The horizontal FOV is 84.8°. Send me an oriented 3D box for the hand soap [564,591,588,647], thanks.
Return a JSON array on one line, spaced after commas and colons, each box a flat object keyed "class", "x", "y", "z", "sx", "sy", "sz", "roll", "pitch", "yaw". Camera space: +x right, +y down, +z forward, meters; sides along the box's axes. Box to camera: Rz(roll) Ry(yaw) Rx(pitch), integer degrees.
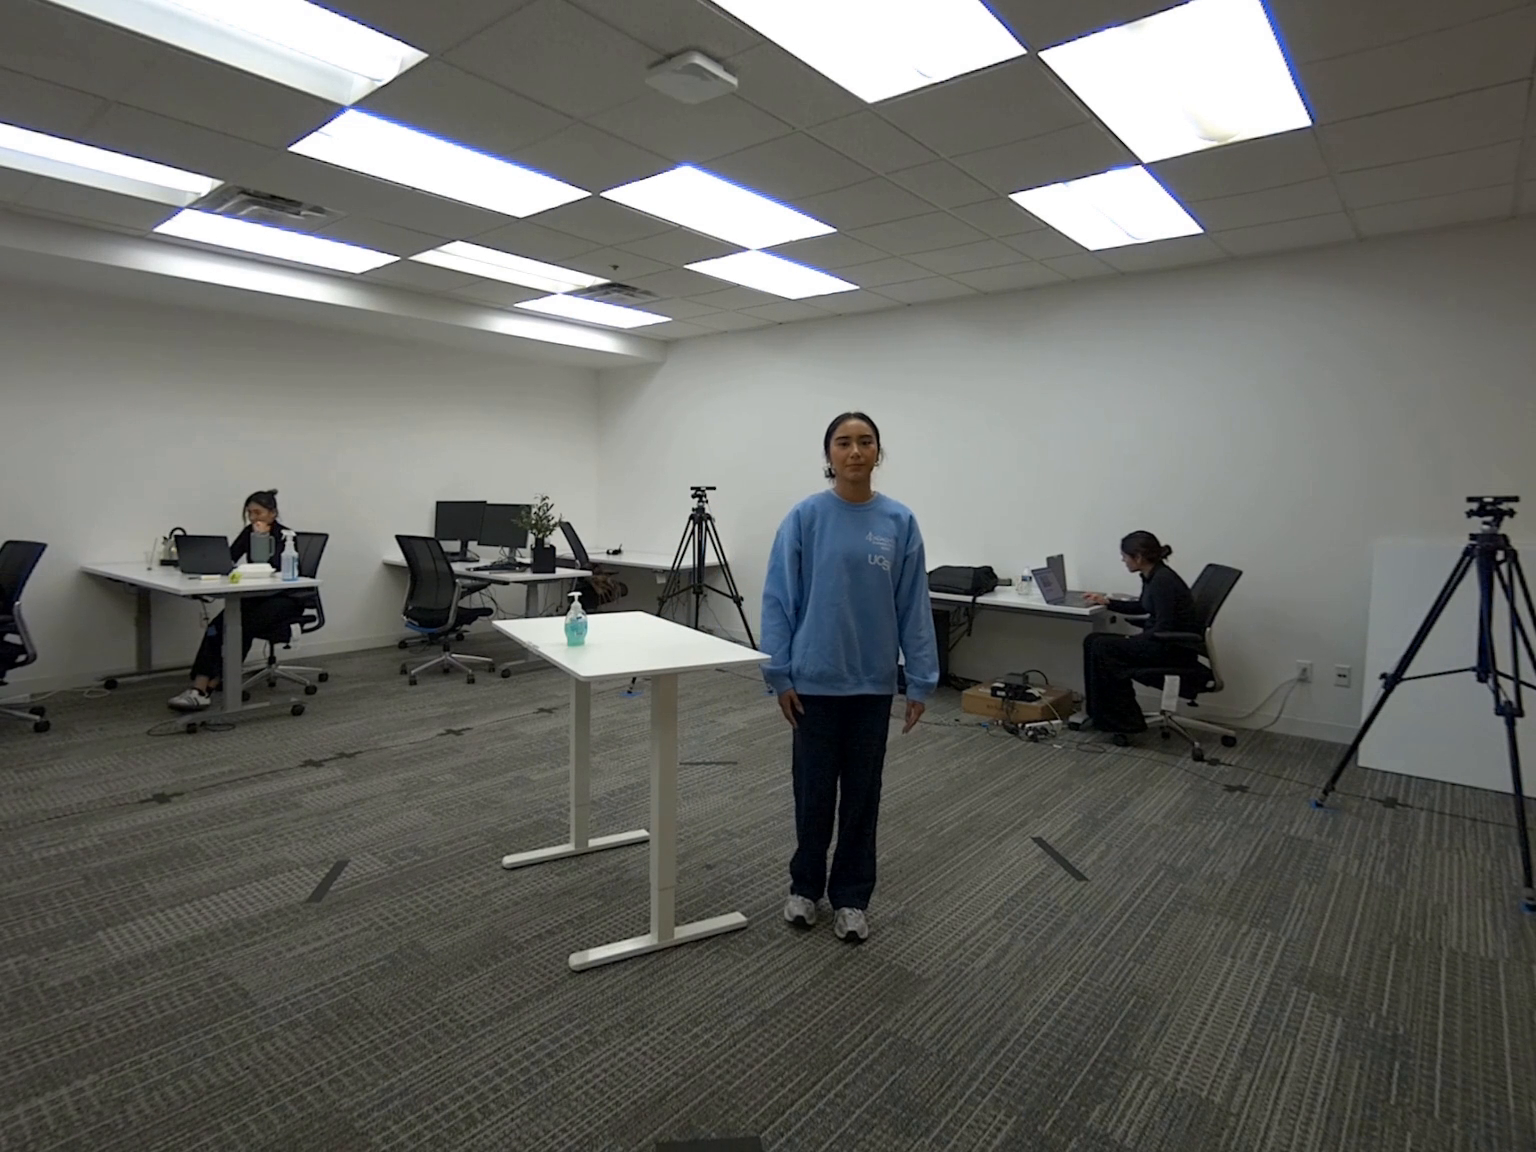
[{"class": "hand soap", "x": -0.626, "y": 0.135, "z": 2.710, "sx": 0.045, "sy": 0.167, "sz": 0.082, "roll": 3, "pitch": 5, "yaw": 39}]
